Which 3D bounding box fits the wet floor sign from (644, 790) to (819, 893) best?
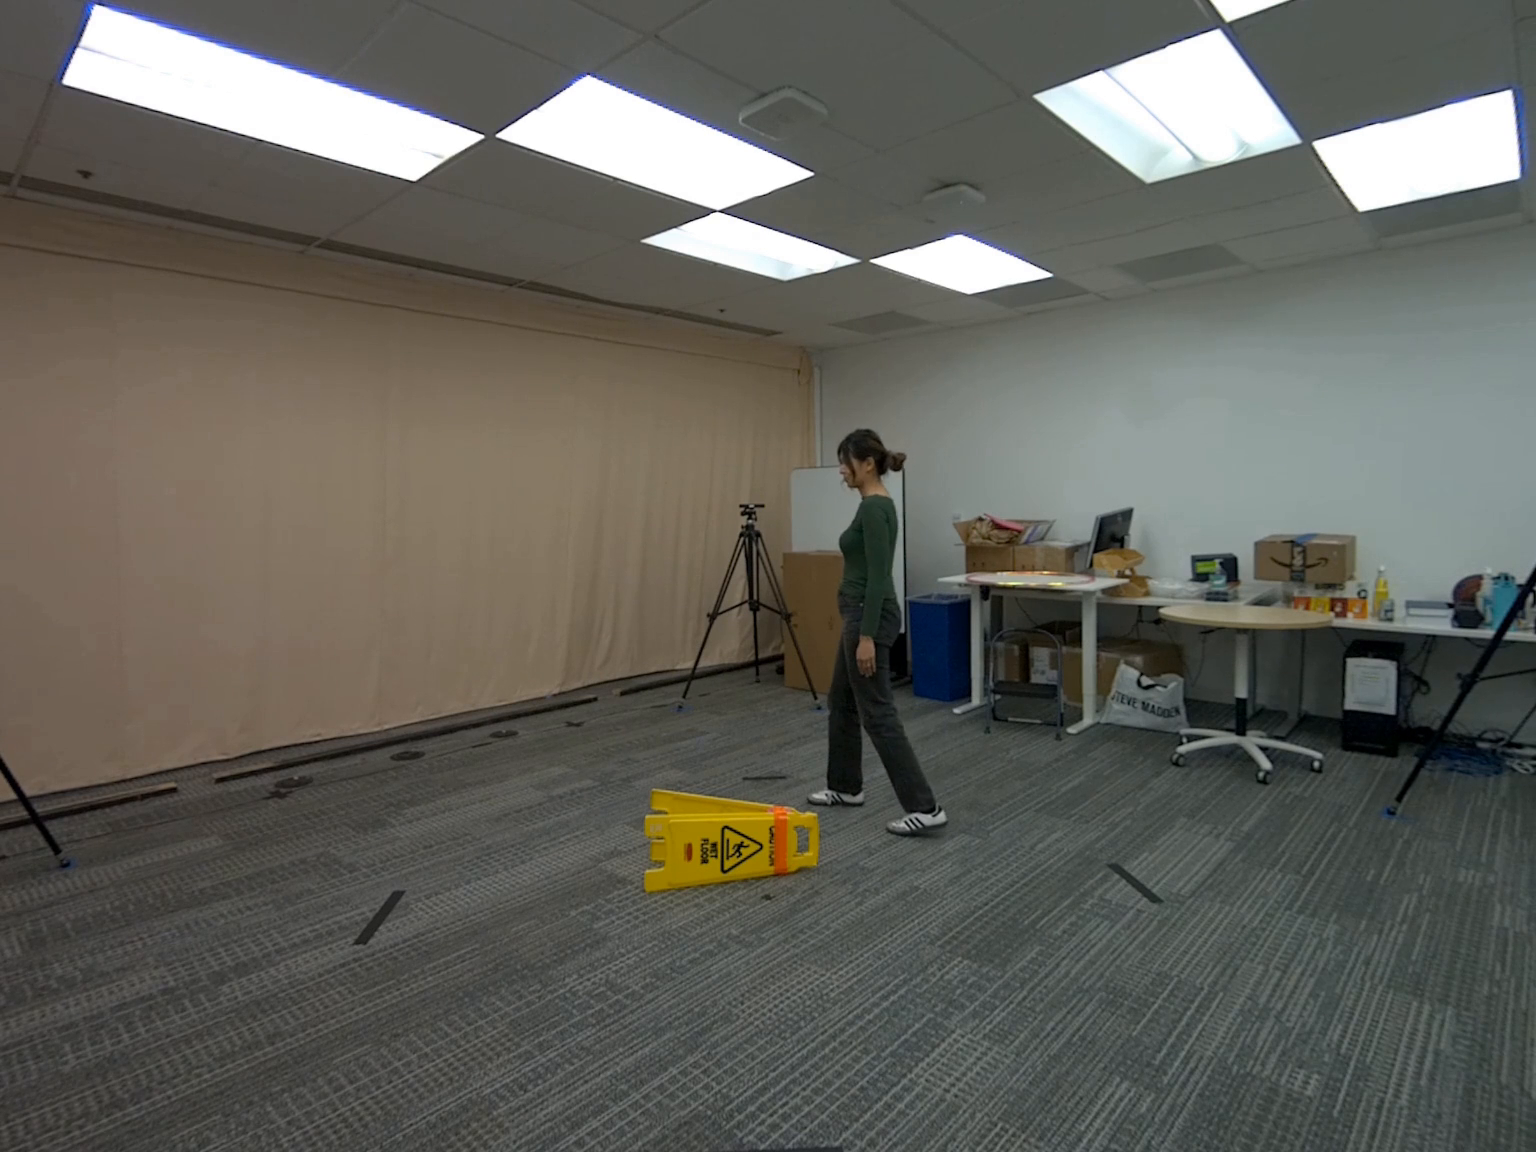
[{"bbox_3d":[-0.126,0.991,3.184,0.645,0.282,0.290,1,4,-1],"label":"wet floor sign"}]
